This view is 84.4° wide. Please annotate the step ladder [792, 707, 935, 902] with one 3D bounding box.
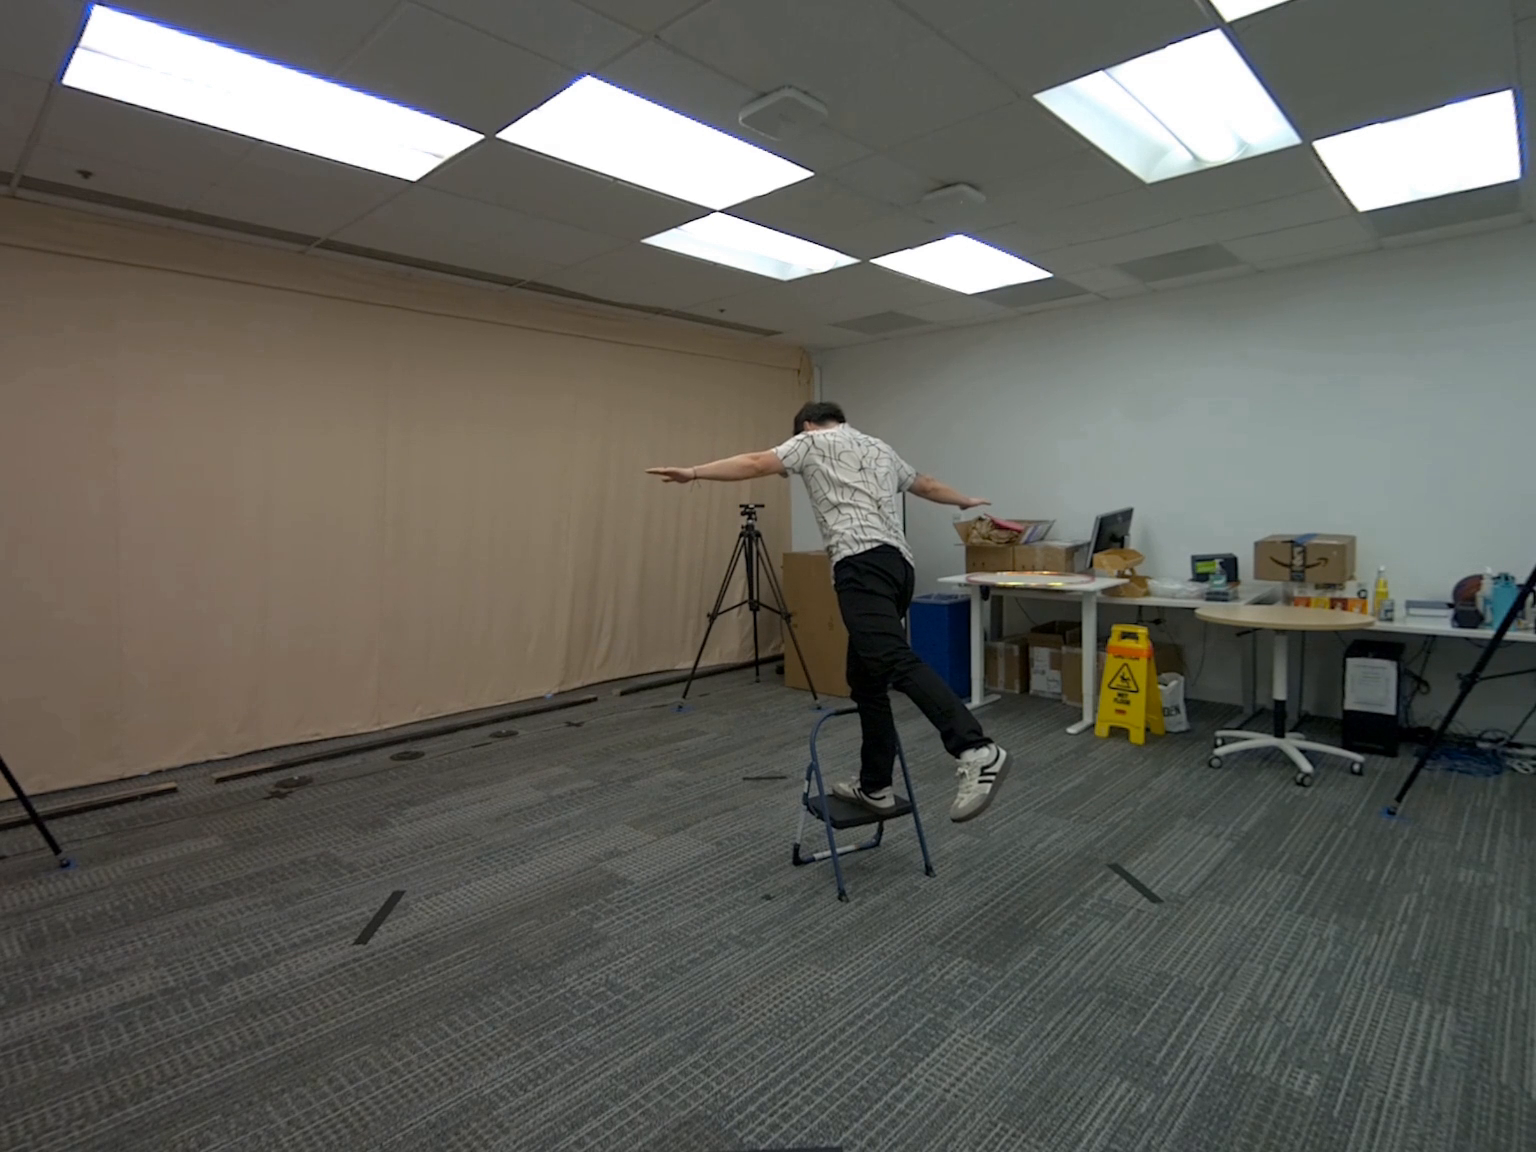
[{"bbox_3d":[0.356,0.813,3.174,0.419,0.605,0.359,-3,4,-30],"label":"step ladder"}]
